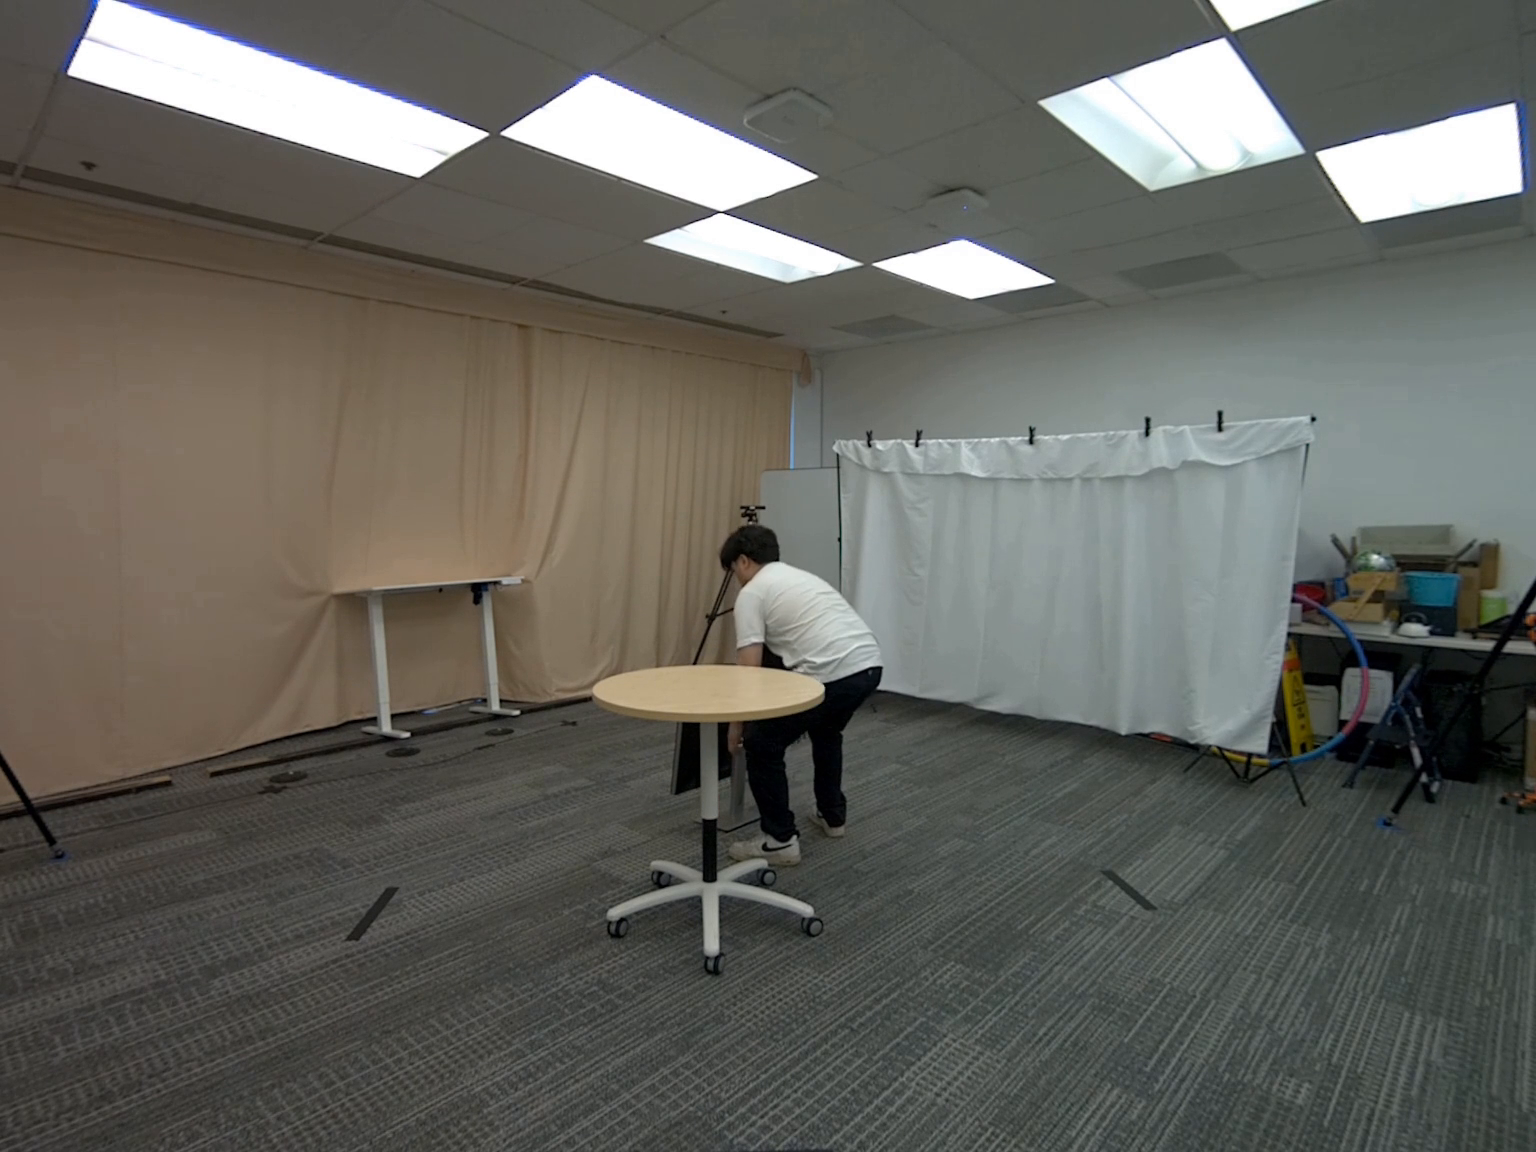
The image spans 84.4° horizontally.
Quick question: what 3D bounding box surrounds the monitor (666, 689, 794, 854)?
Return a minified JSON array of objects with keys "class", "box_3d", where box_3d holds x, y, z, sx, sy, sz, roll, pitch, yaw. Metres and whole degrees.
[{"class":"monitor","box_3d":[-0.161,0.831,3.714,0.217,0.552,0.548,6,7,42]}]
